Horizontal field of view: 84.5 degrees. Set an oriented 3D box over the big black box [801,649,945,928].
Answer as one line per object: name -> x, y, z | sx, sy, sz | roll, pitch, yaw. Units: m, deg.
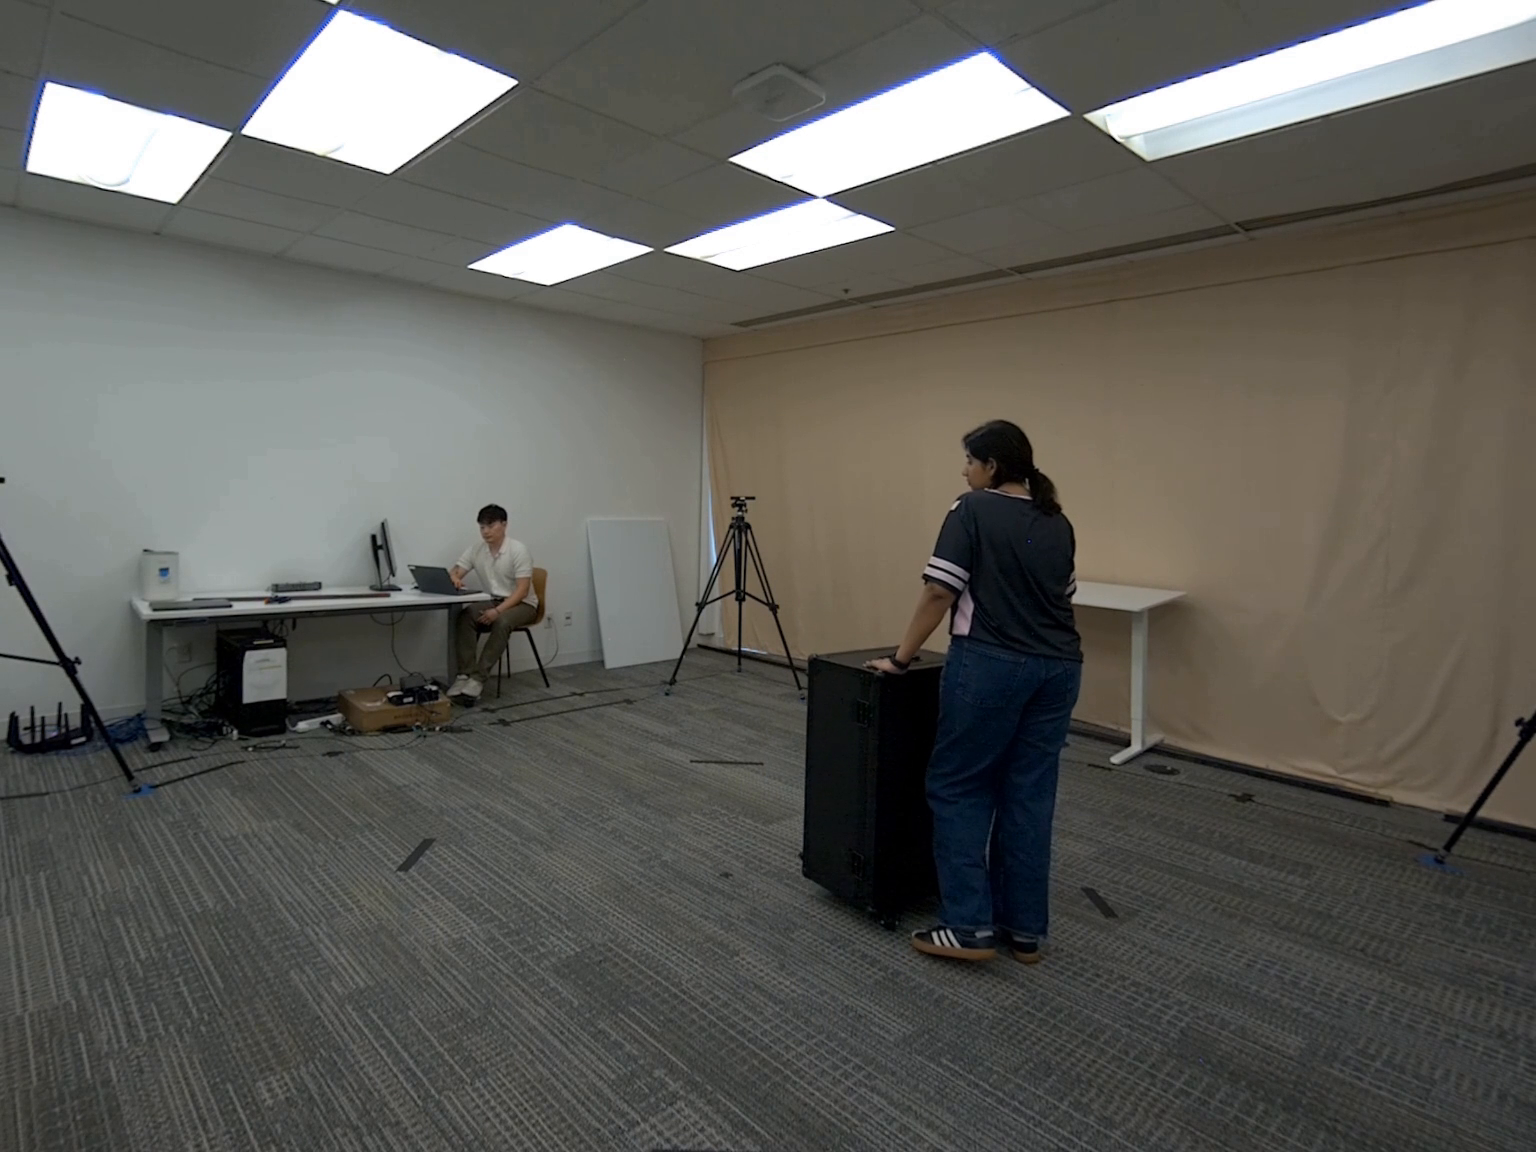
big black box -> 0.406, 0.711, 2.936 | 0.512, 0.866, 0.395 | -1, 4, -36
